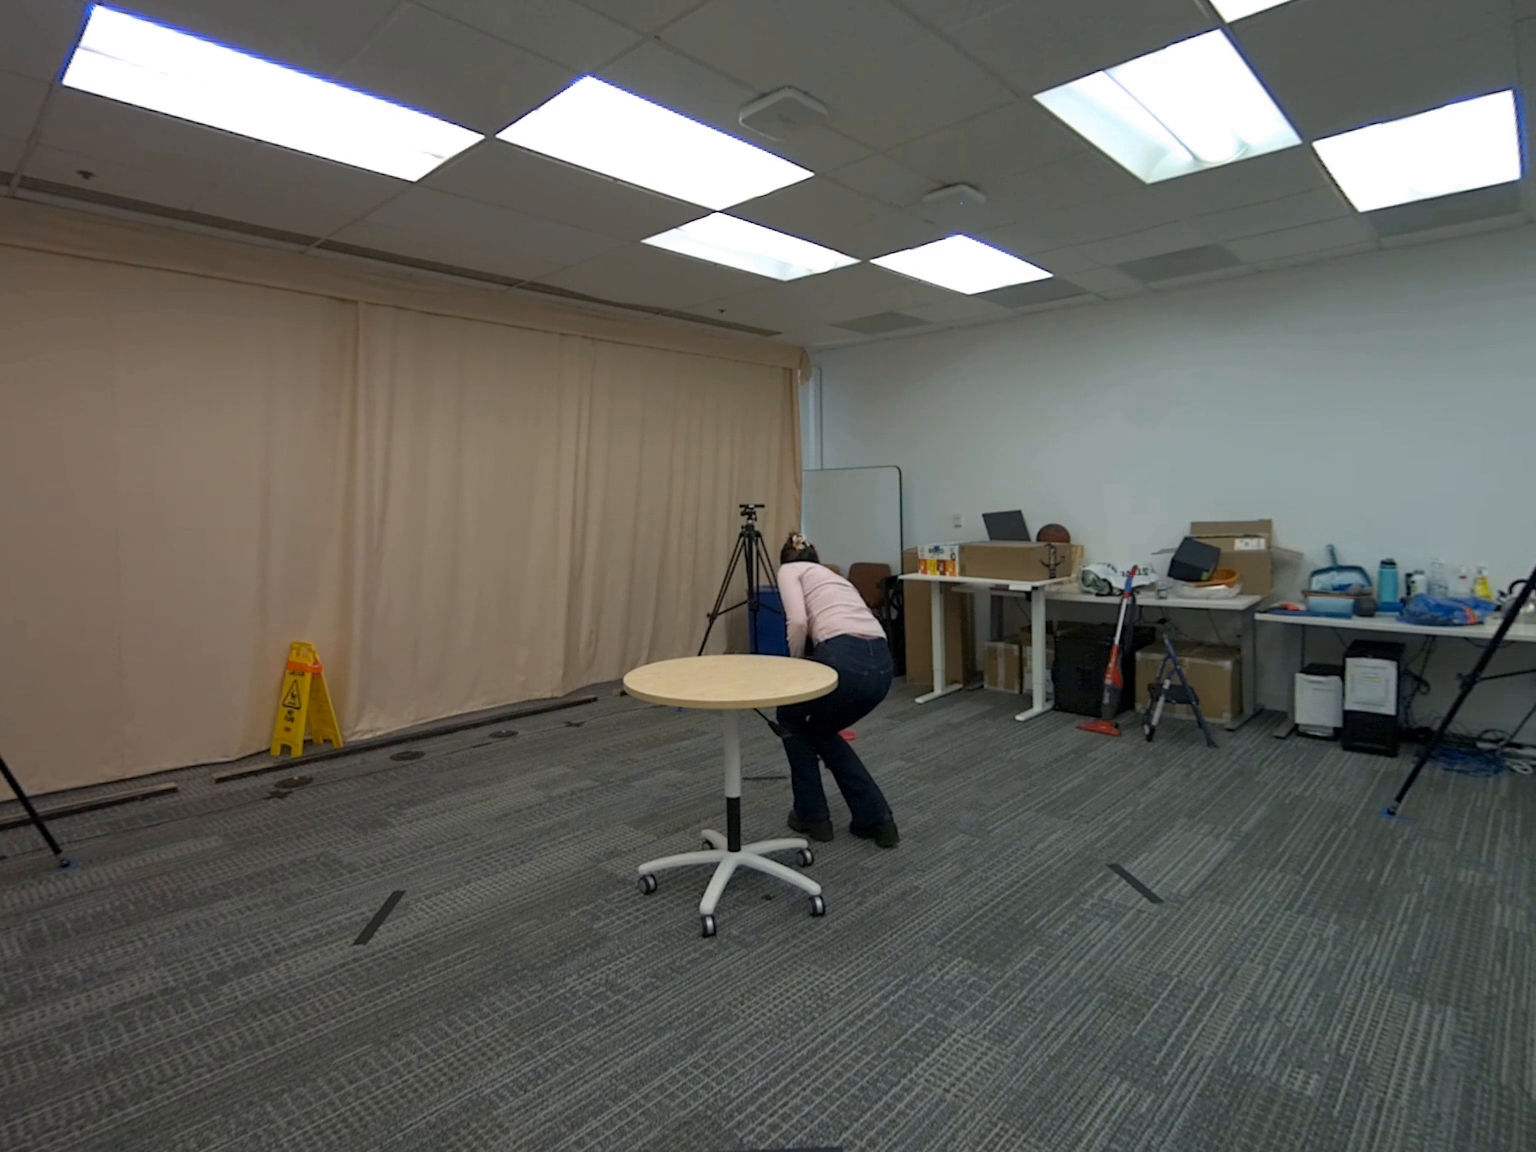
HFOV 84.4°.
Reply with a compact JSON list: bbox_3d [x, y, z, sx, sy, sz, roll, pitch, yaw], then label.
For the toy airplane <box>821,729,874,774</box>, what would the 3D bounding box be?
[{"bbox_3d":[0.298,0.794,3.887,0.244,0.157,0.266,5,-3,-30],"label":"toy airplane"}]
